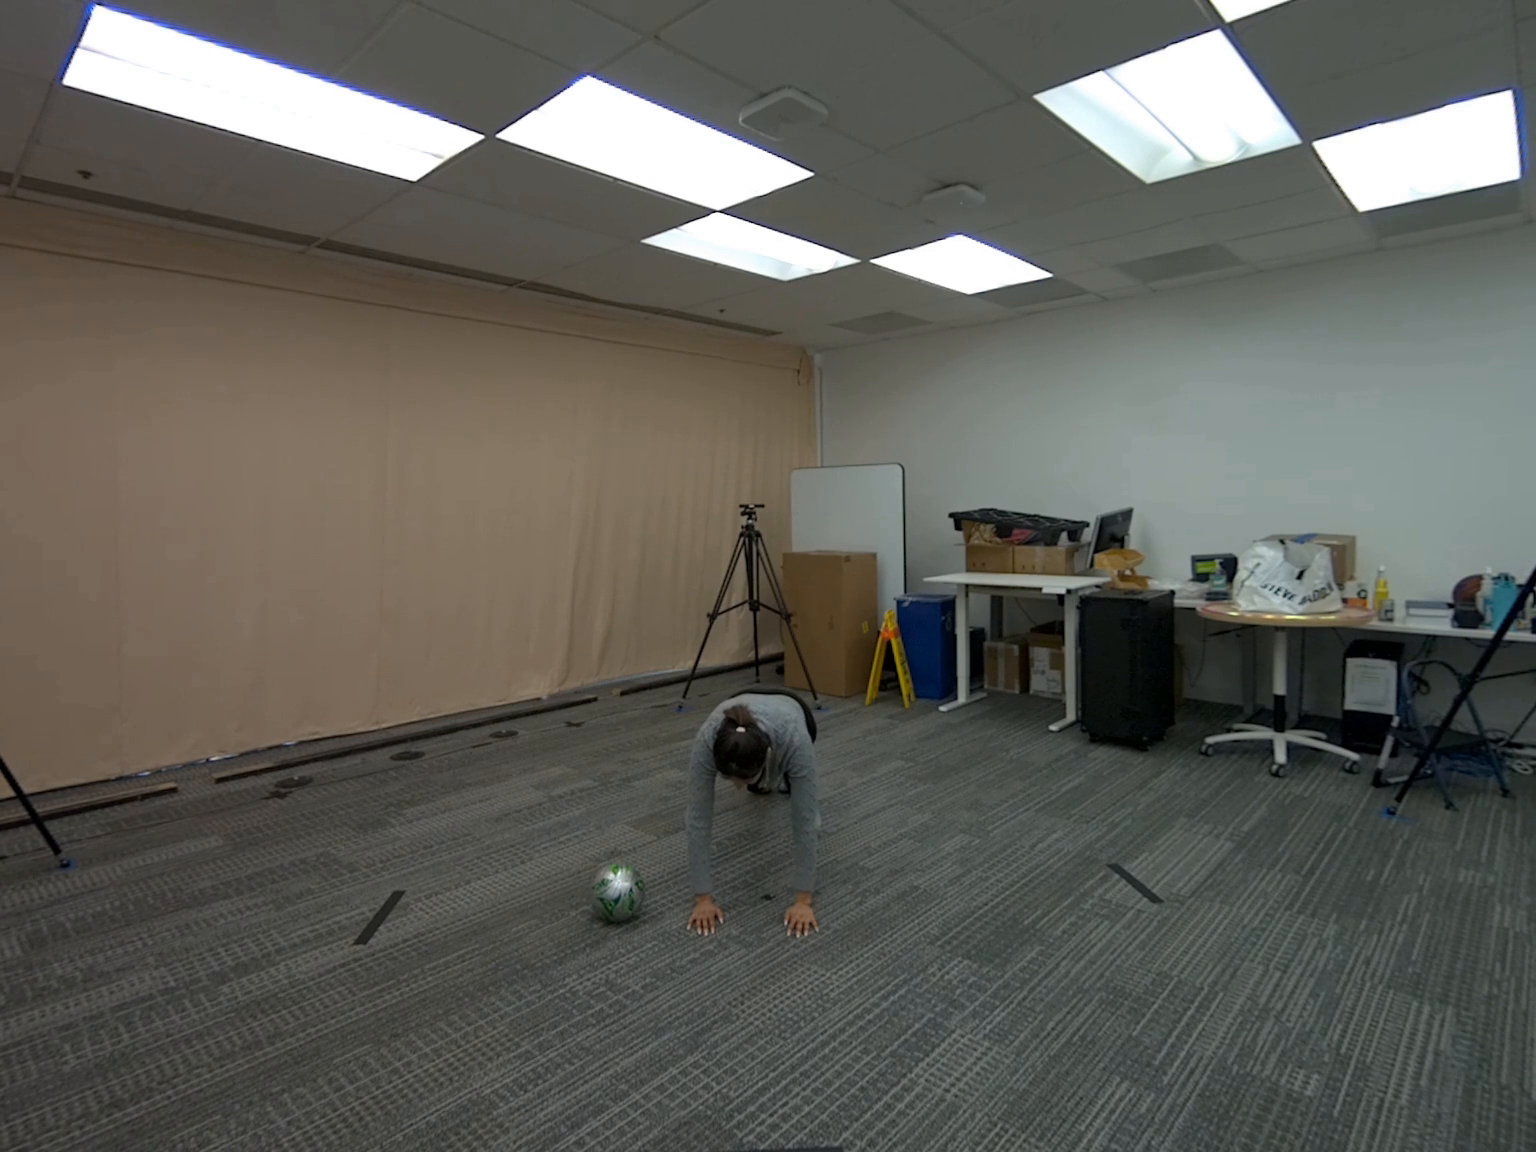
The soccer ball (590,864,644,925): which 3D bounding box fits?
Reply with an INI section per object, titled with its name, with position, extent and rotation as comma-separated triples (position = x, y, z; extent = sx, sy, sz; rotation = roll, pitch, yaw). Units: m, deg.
[soccer ball]
position = -0.506, 1.072, 2.851
extent = 0.187, 0.187, 0.188
rotation = -1, 4, -2
